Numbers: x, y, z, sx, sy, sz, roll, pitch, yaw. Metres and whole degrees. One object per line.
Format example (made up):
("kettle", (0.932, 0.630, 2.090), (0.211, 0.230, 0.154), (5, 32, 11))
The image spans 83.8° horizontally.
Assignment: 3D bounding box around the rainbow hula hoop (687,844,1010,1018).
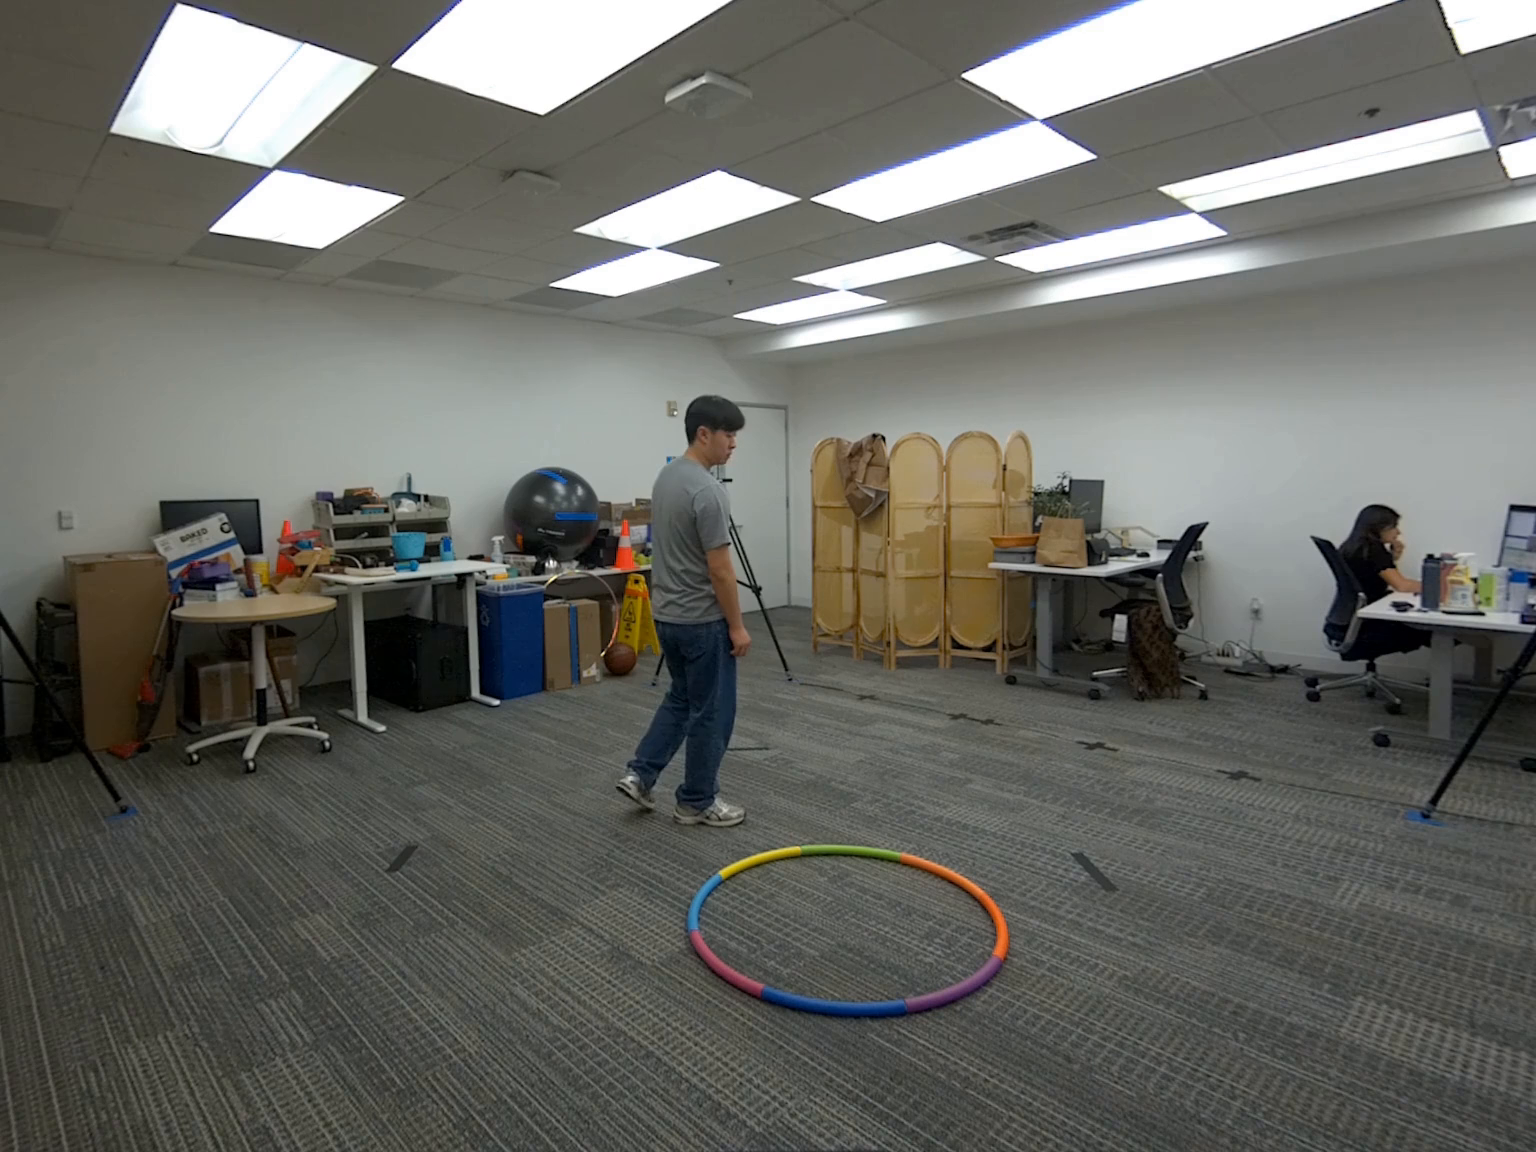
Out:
("rainbow hula hoop", (0.233, 1.060, 2.696), (0.978, 0.035, 0.984), (-2, 7, -2))
